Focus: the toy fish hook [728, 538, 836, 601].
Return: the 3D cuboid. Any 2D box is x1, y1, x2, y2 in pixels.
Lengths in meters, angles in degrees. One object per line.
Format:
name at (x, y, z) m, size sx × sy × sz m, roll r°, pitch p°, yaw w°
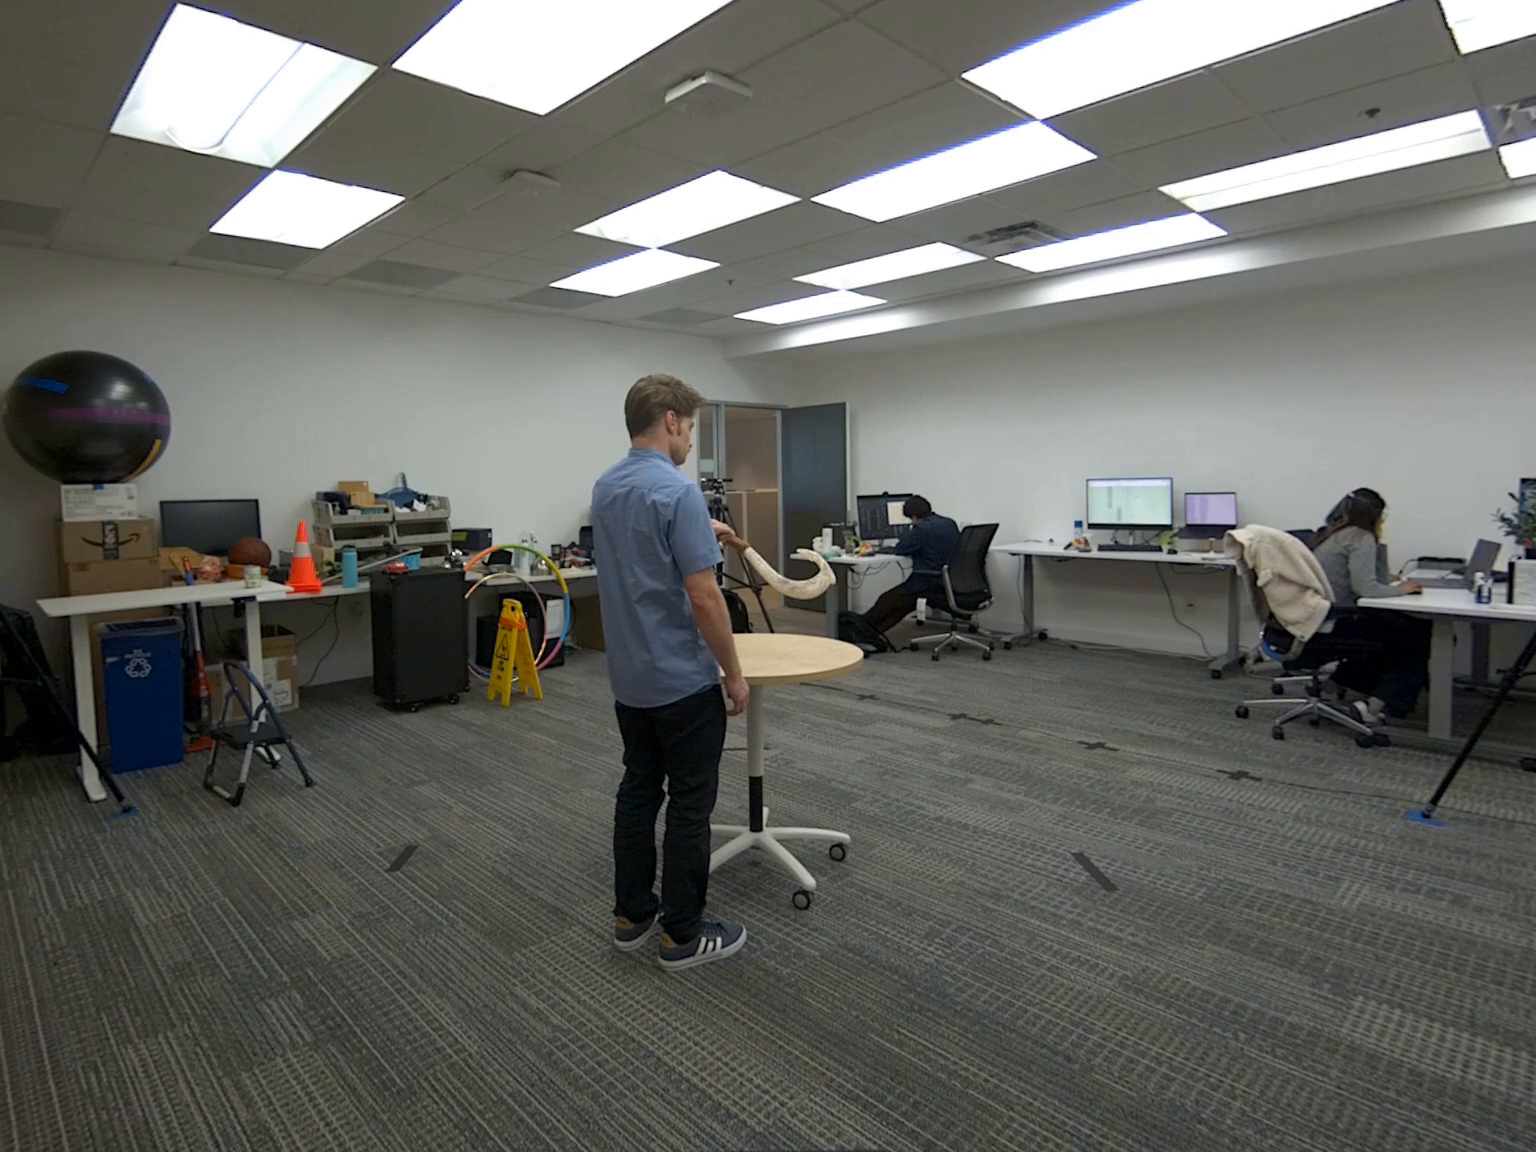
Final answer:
toy fish hook at (0.003, -0.085, 2.883) m, size 0.524 × 0.047 × 0.222 m, roll 32°, pitch 44°, yaw 31°
